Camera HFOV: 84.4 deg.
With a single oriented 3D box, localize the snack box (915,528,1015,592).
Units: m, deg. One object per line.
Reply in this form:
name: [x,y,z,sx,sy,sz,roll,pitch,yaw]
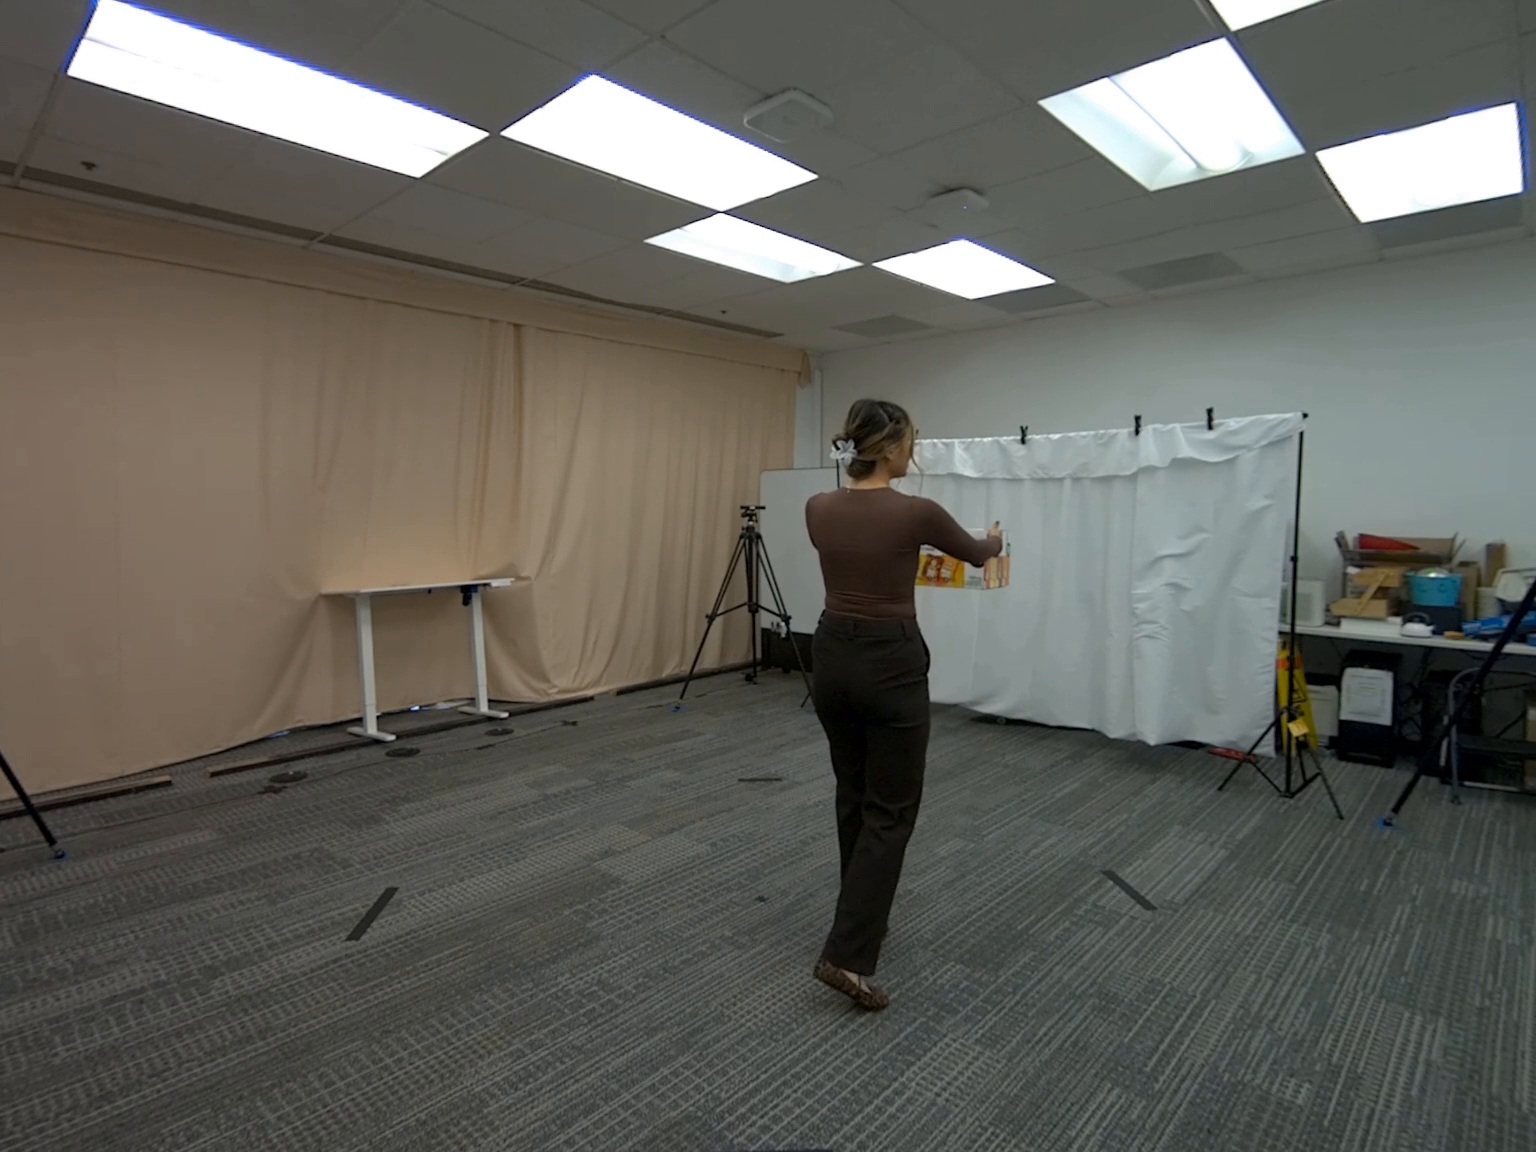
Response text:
snack box: [0.632,-0.068,3.038,0.417,0.205,0.331,2,3,30]
